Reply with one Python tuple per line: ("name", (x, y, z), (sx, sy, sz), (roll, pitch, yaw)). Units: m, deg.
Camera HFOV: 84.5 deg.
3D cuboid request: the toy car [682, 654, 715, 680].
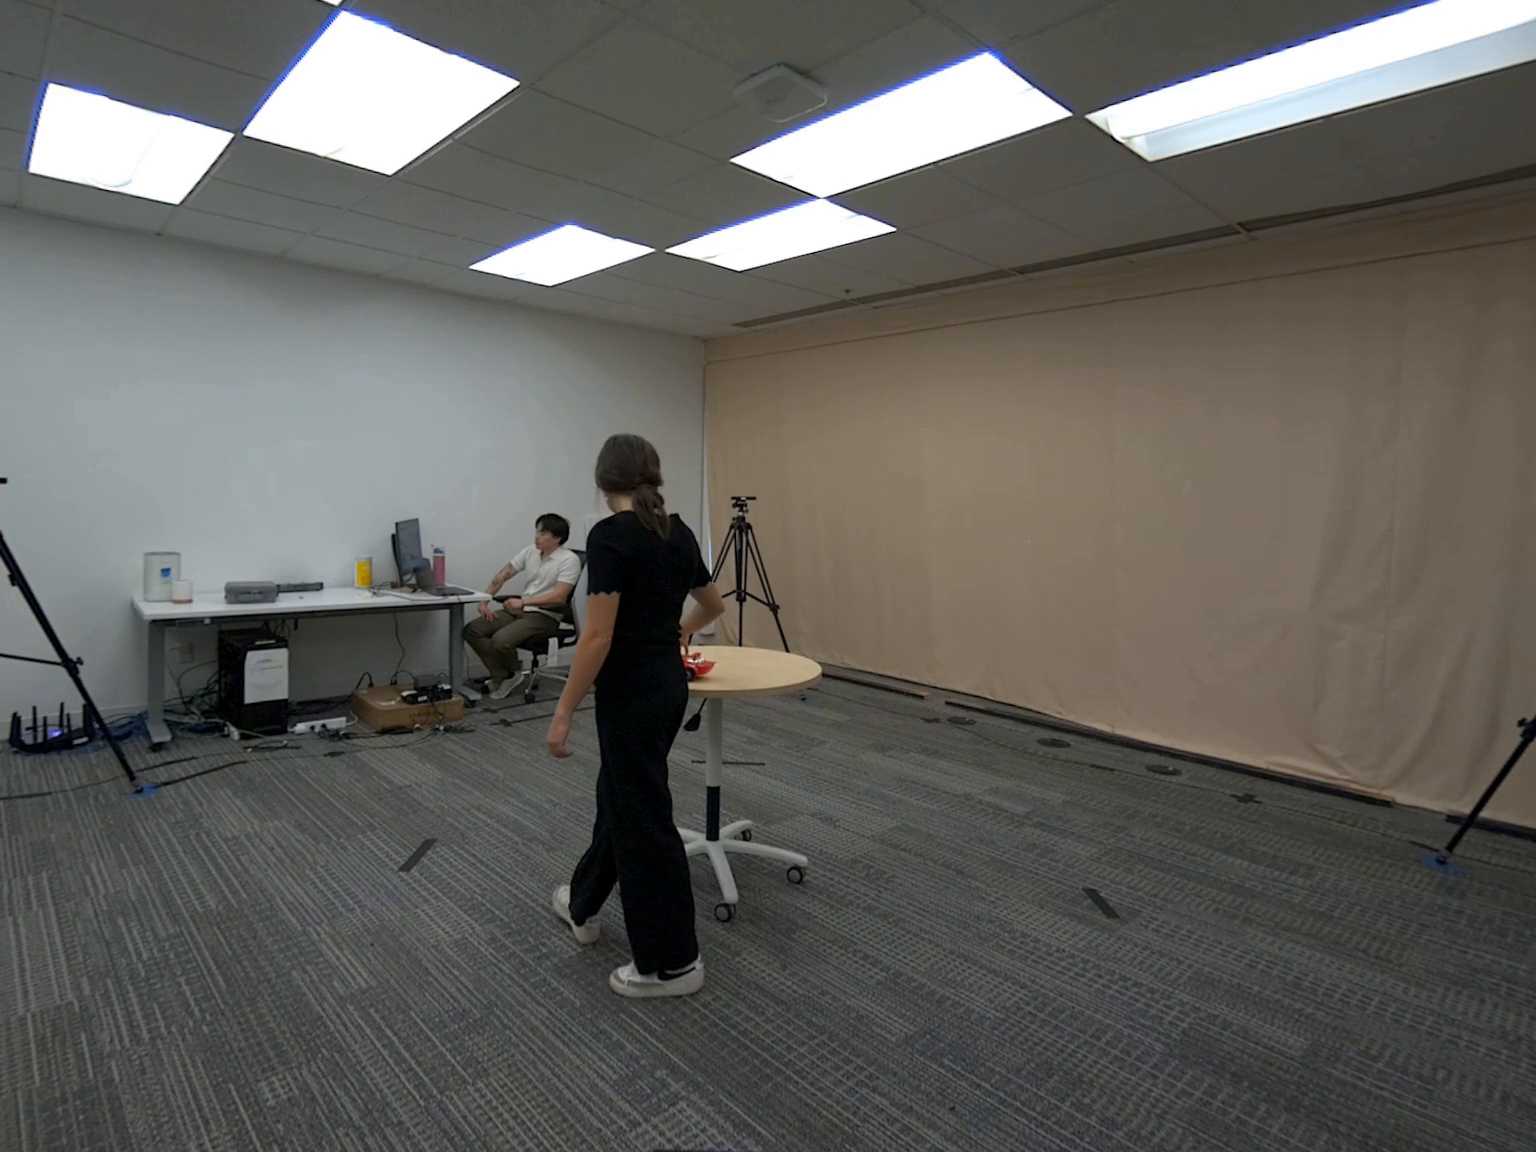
("toy car", (-0.305, 0.314, 2.846), (0.257, 0.083, 0.129), (-9, 3, 16))
